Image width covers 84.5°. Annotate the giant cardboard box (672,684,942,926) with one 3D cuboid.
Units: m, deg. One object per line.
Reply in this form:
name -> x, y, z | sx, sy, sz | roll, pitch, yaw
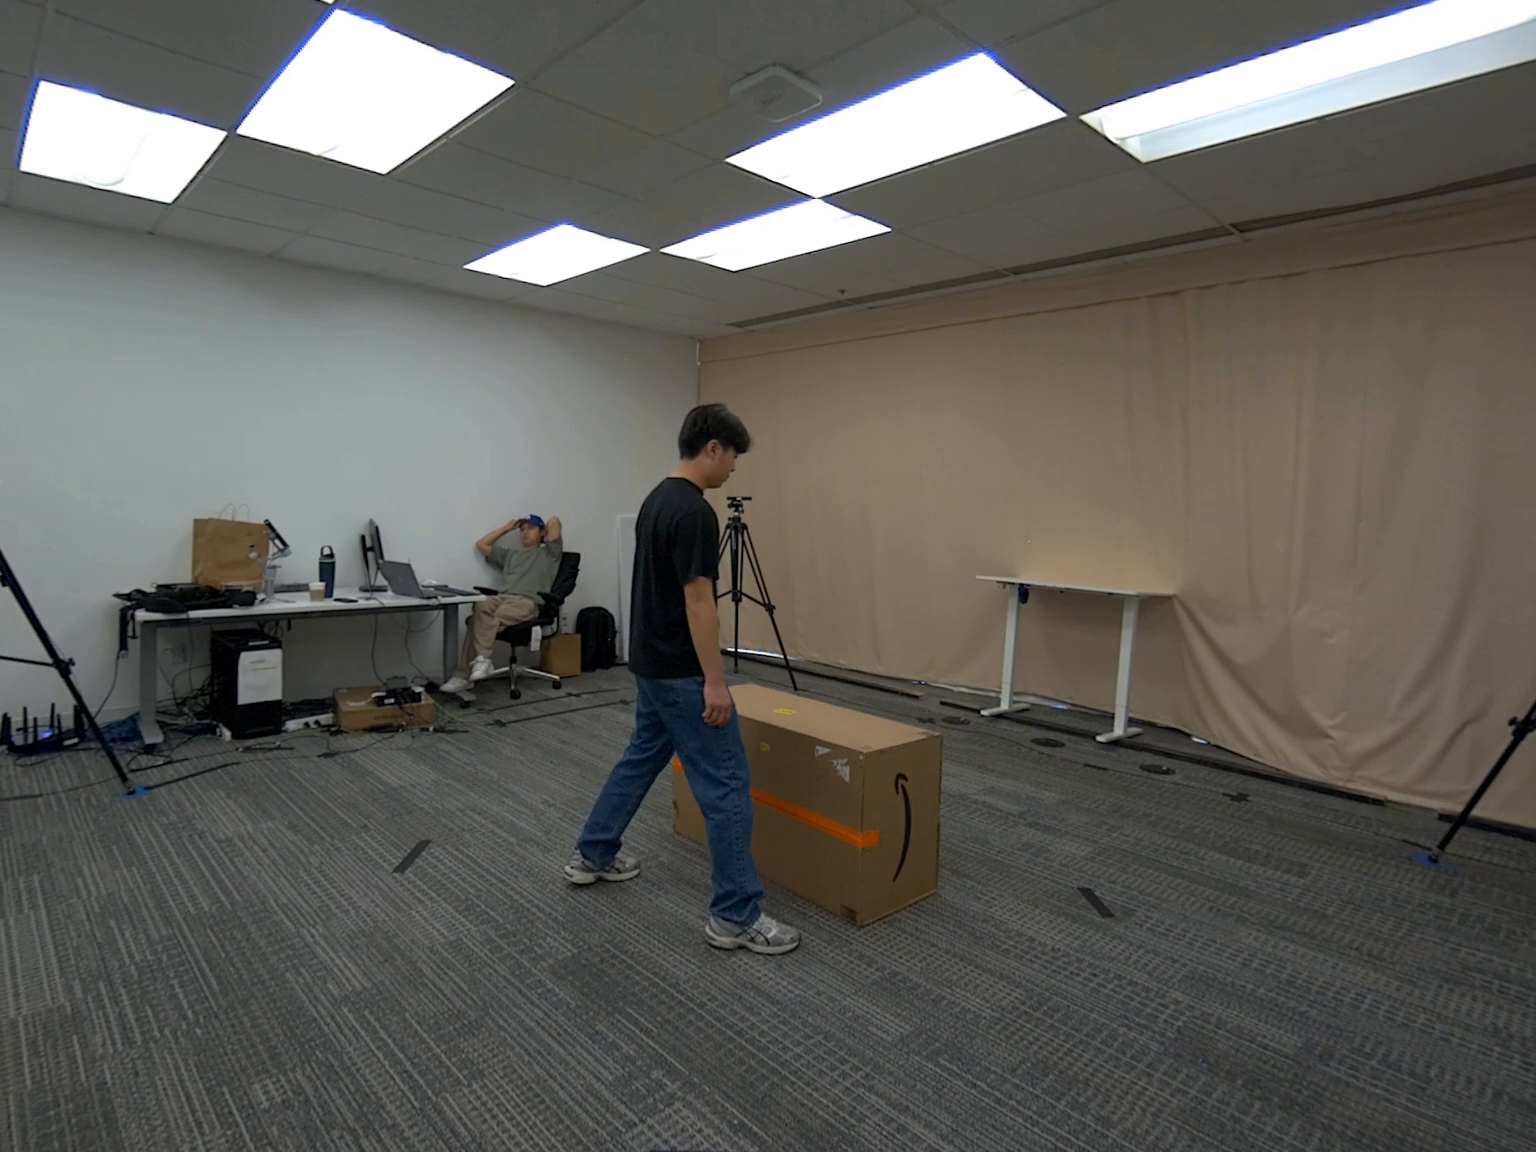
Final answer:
giant cardboard box -> 0.110, 0.816, 3.251 | 0.437, 0.582, 1.053 | -3, 6, -42
